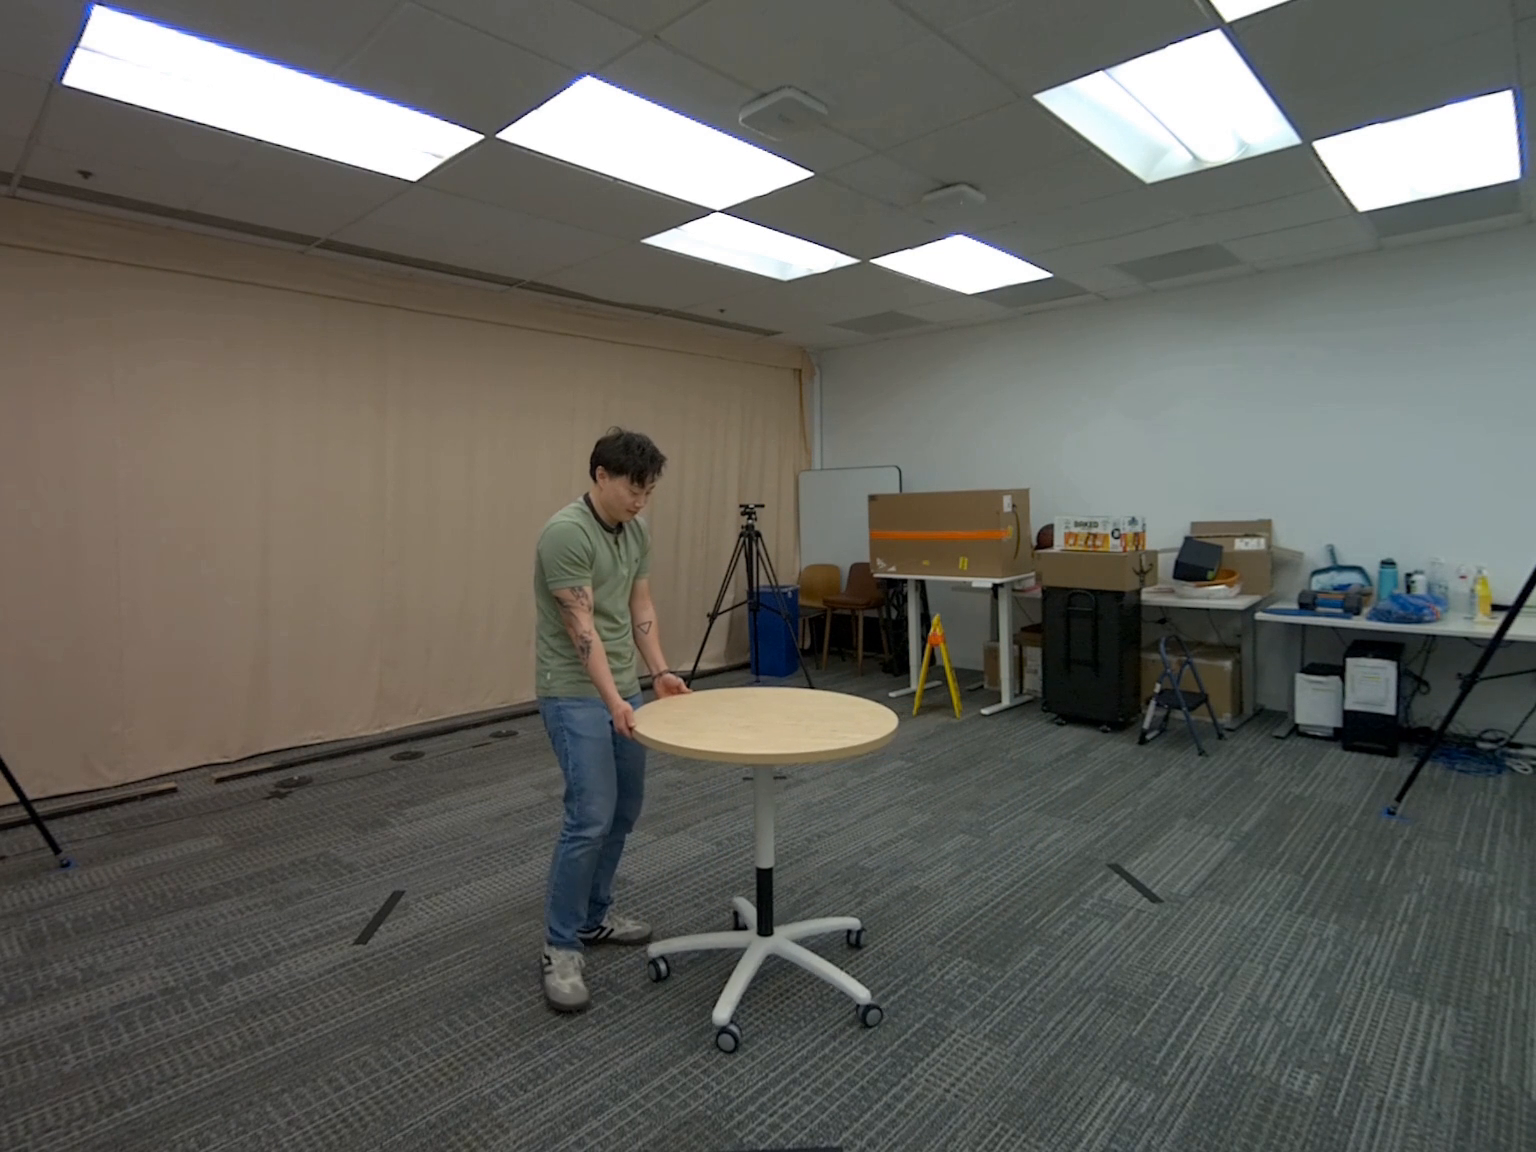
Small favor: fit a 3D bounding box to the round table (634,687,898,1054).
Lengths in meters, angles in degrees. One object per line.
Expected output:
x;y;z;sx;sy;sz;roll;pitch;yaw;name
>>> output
0.001;0.797;2.438;0.763;0.792;0.767;-1;4;-2;round table
